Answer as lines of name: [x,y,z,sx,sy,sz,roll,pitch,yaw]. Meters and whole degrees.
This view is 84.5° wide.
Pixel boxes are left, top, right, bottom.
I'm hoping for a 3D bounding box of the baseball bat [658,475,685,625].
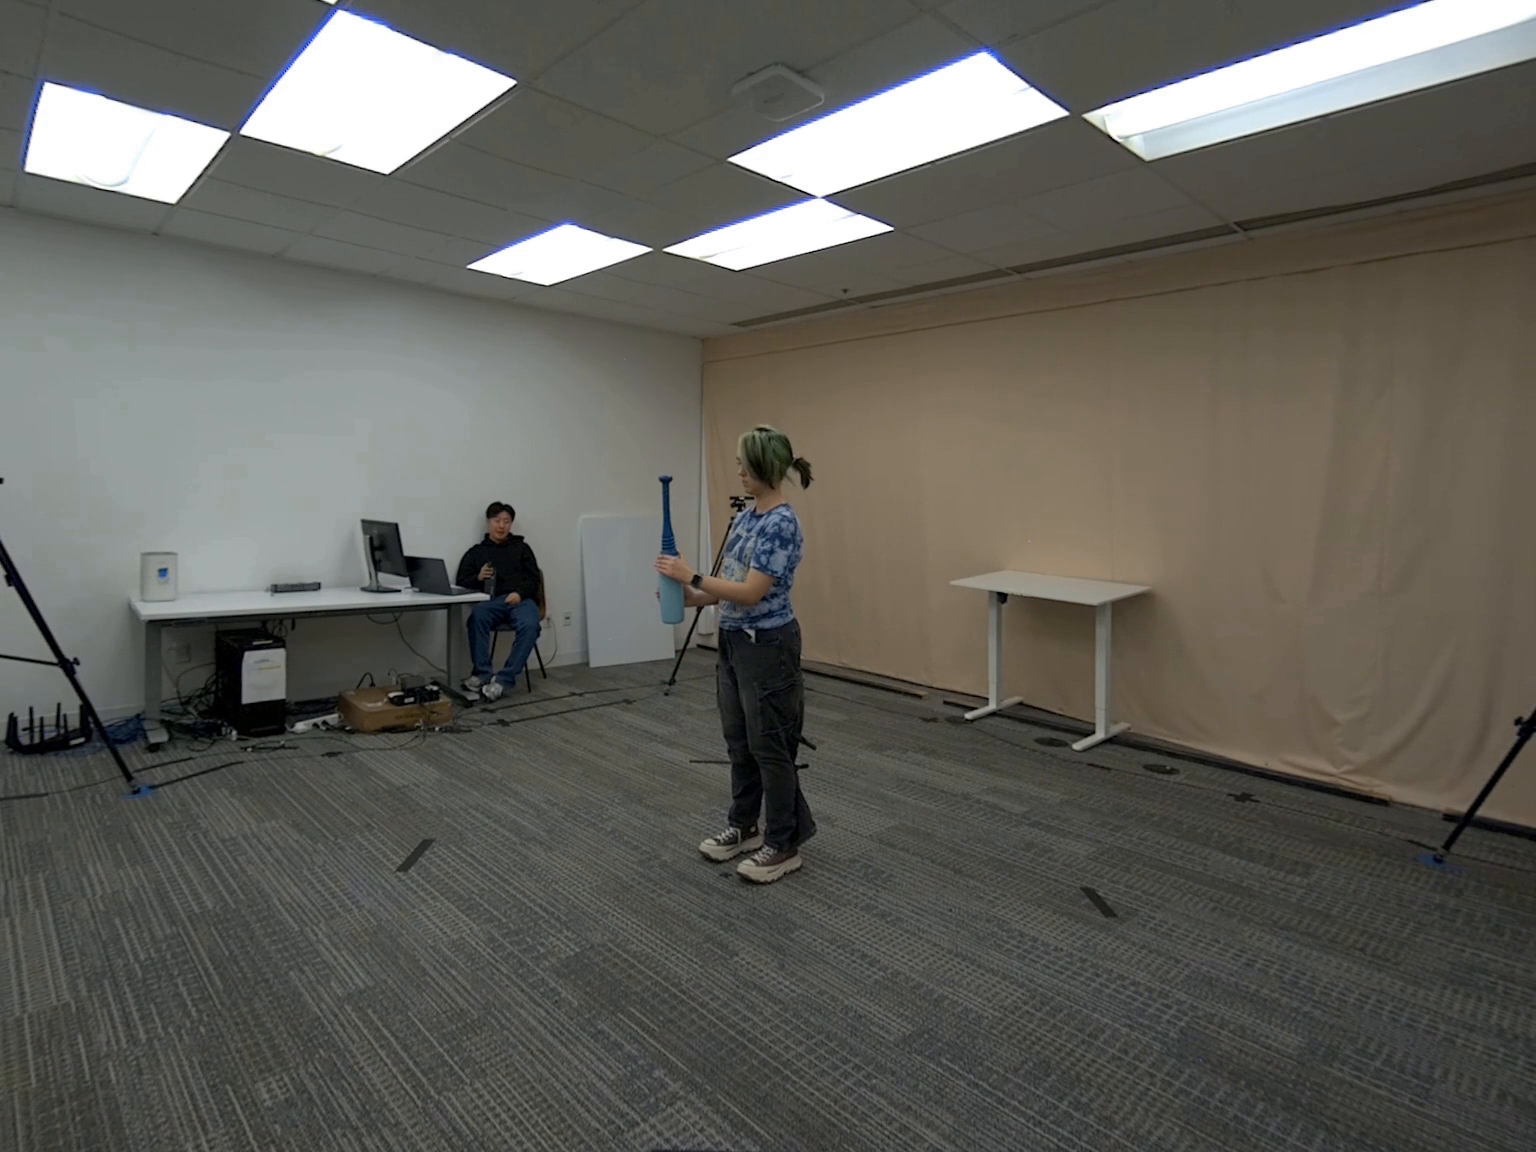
baseball bat: [-0.362,-0.095,3.052,0.089,0.540,0.089,-3,8,-1]
